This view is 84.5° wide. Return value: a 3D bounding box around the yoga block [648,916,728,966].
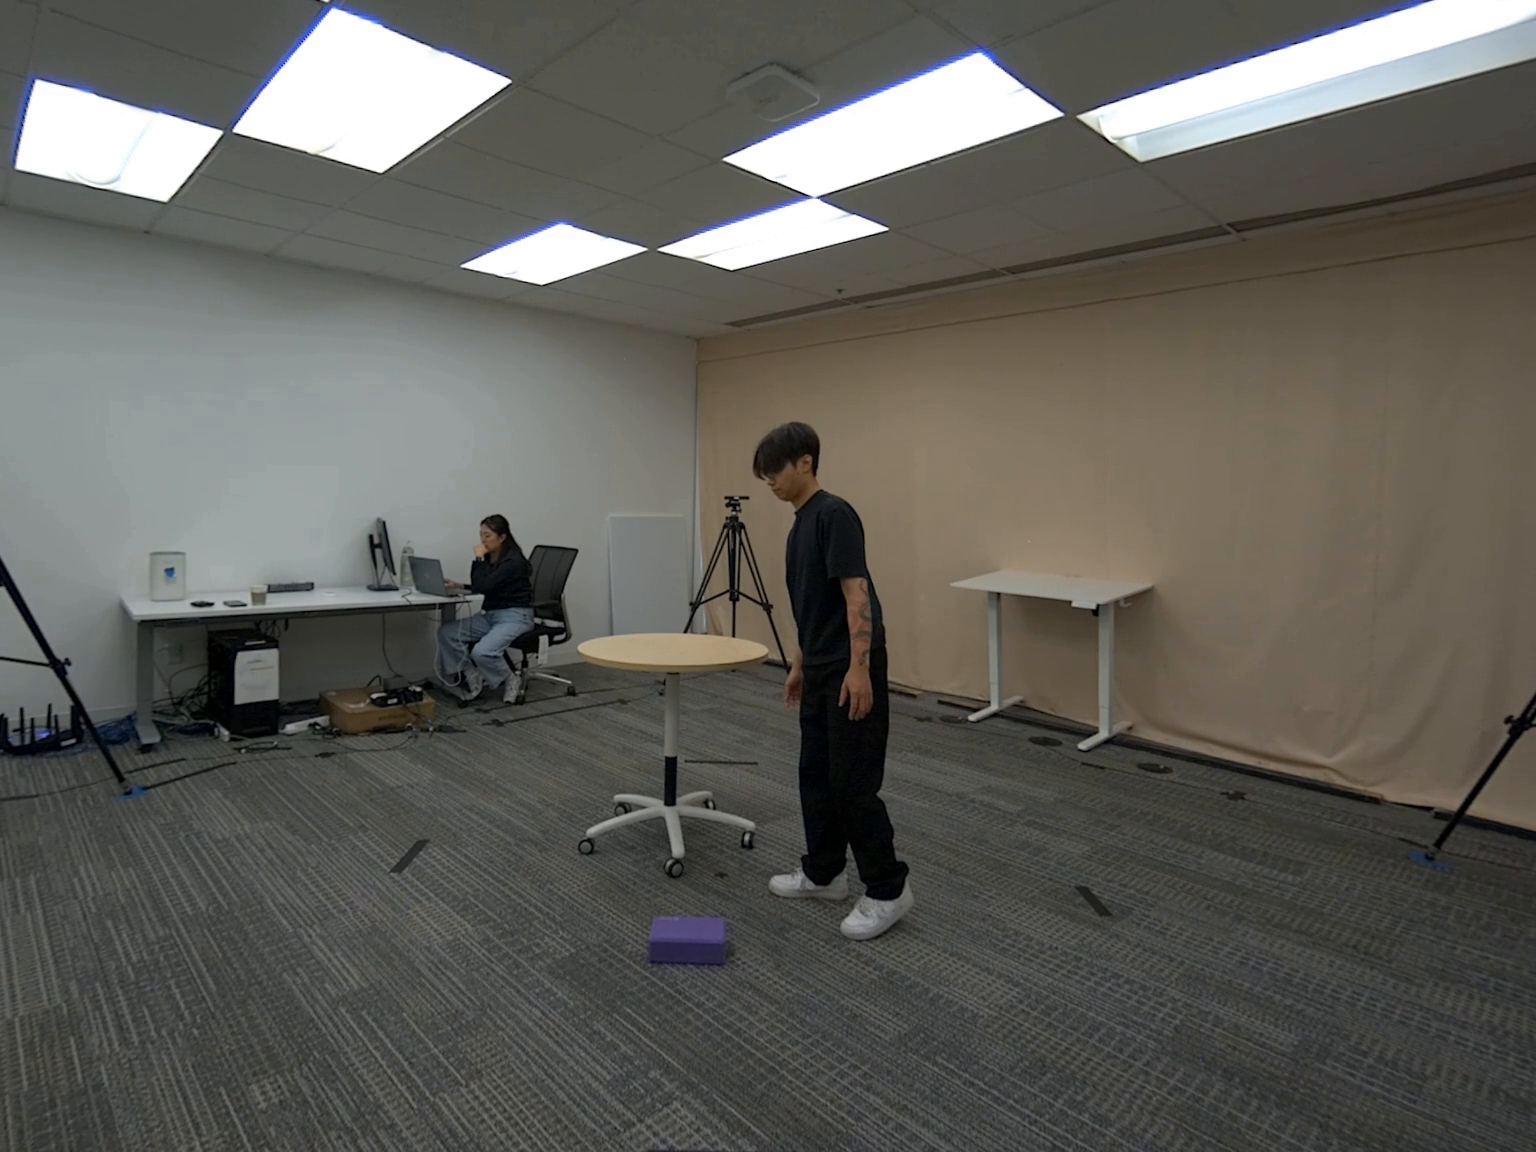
[{"bbox_3d":[-0.251,1.116,2.564,0.229,0.076,0.149,2,4,0],"label":"yoga block"}]
